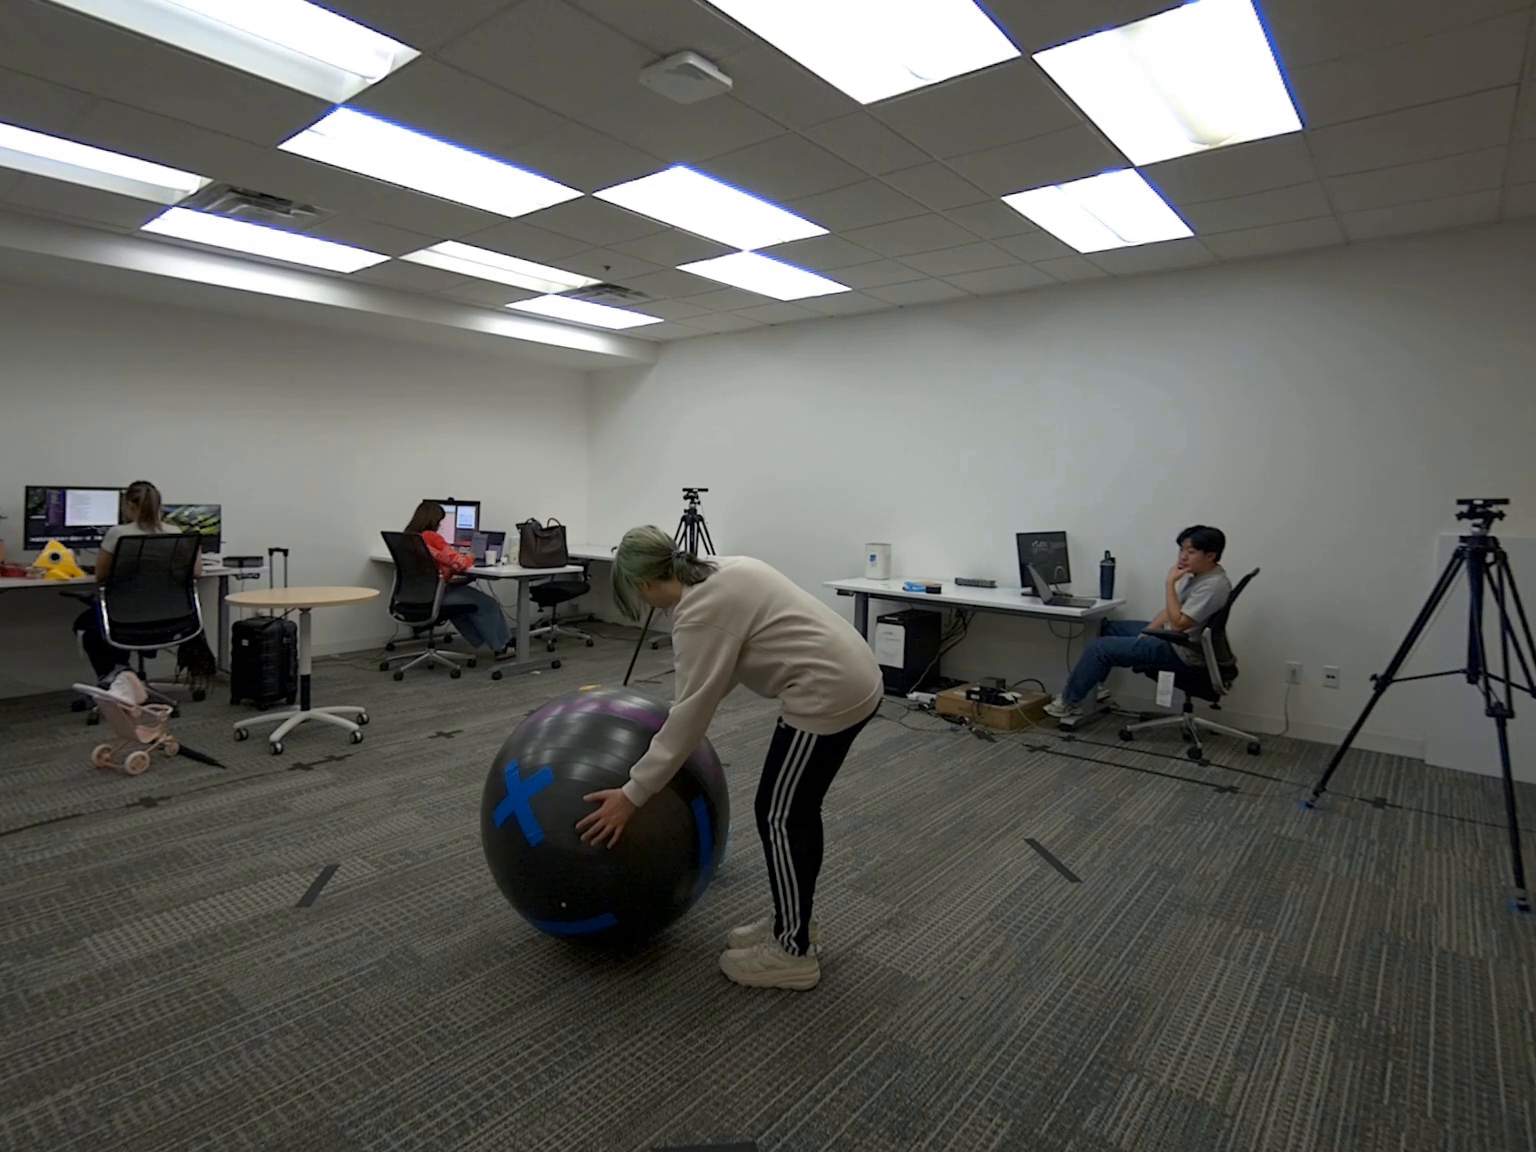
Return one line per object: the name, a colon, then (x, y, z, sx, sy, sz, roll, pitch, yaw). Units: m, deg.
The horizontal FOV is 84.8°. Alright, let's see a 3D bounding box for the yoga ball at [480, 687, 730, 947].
yoga ball: (-0.509, 0.722, 2.620, 0.757, 0.755, 0.762, 1, 4, -2)
